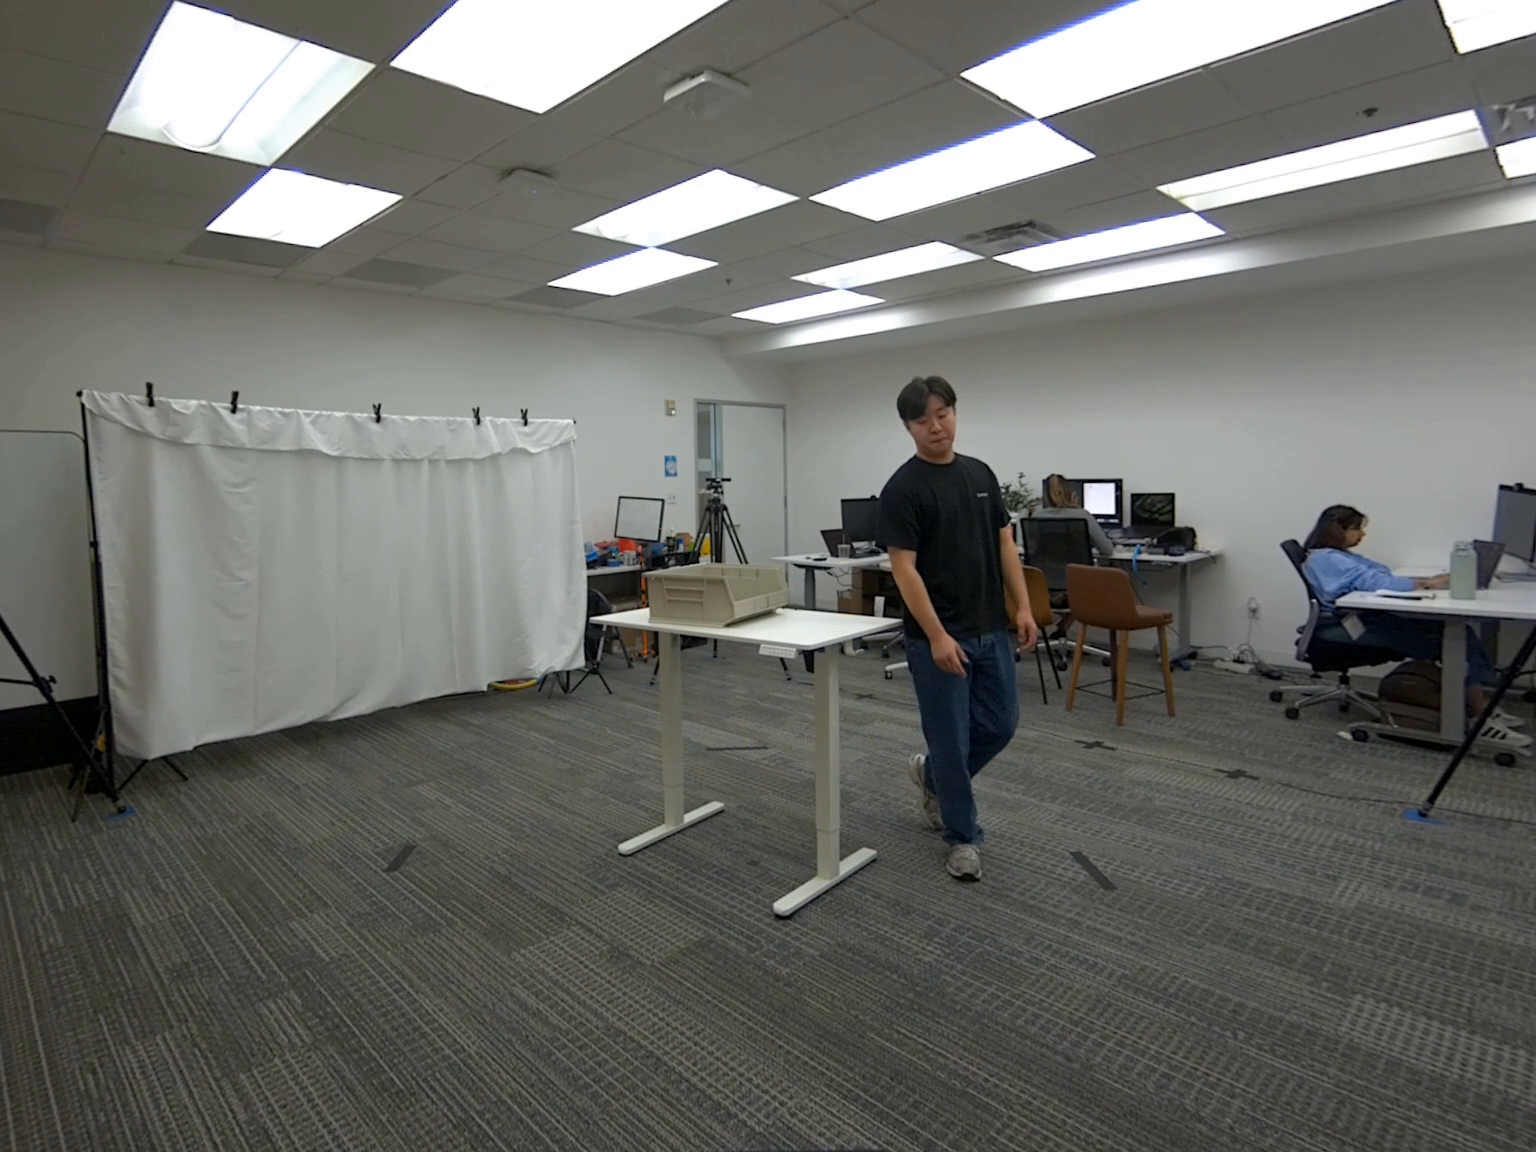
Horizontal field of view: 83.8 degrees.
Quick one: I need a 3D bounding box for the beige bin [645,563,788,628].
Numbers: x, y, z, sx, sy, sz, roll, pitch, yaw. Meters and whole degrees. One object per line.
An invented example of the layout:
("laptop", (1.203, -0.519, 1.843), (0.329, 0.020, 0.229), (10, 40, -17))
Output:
("beige bin", (-0.182, 0.067, 3.165), (0.387, 0.188, 0.413), (0, 6, 29))
